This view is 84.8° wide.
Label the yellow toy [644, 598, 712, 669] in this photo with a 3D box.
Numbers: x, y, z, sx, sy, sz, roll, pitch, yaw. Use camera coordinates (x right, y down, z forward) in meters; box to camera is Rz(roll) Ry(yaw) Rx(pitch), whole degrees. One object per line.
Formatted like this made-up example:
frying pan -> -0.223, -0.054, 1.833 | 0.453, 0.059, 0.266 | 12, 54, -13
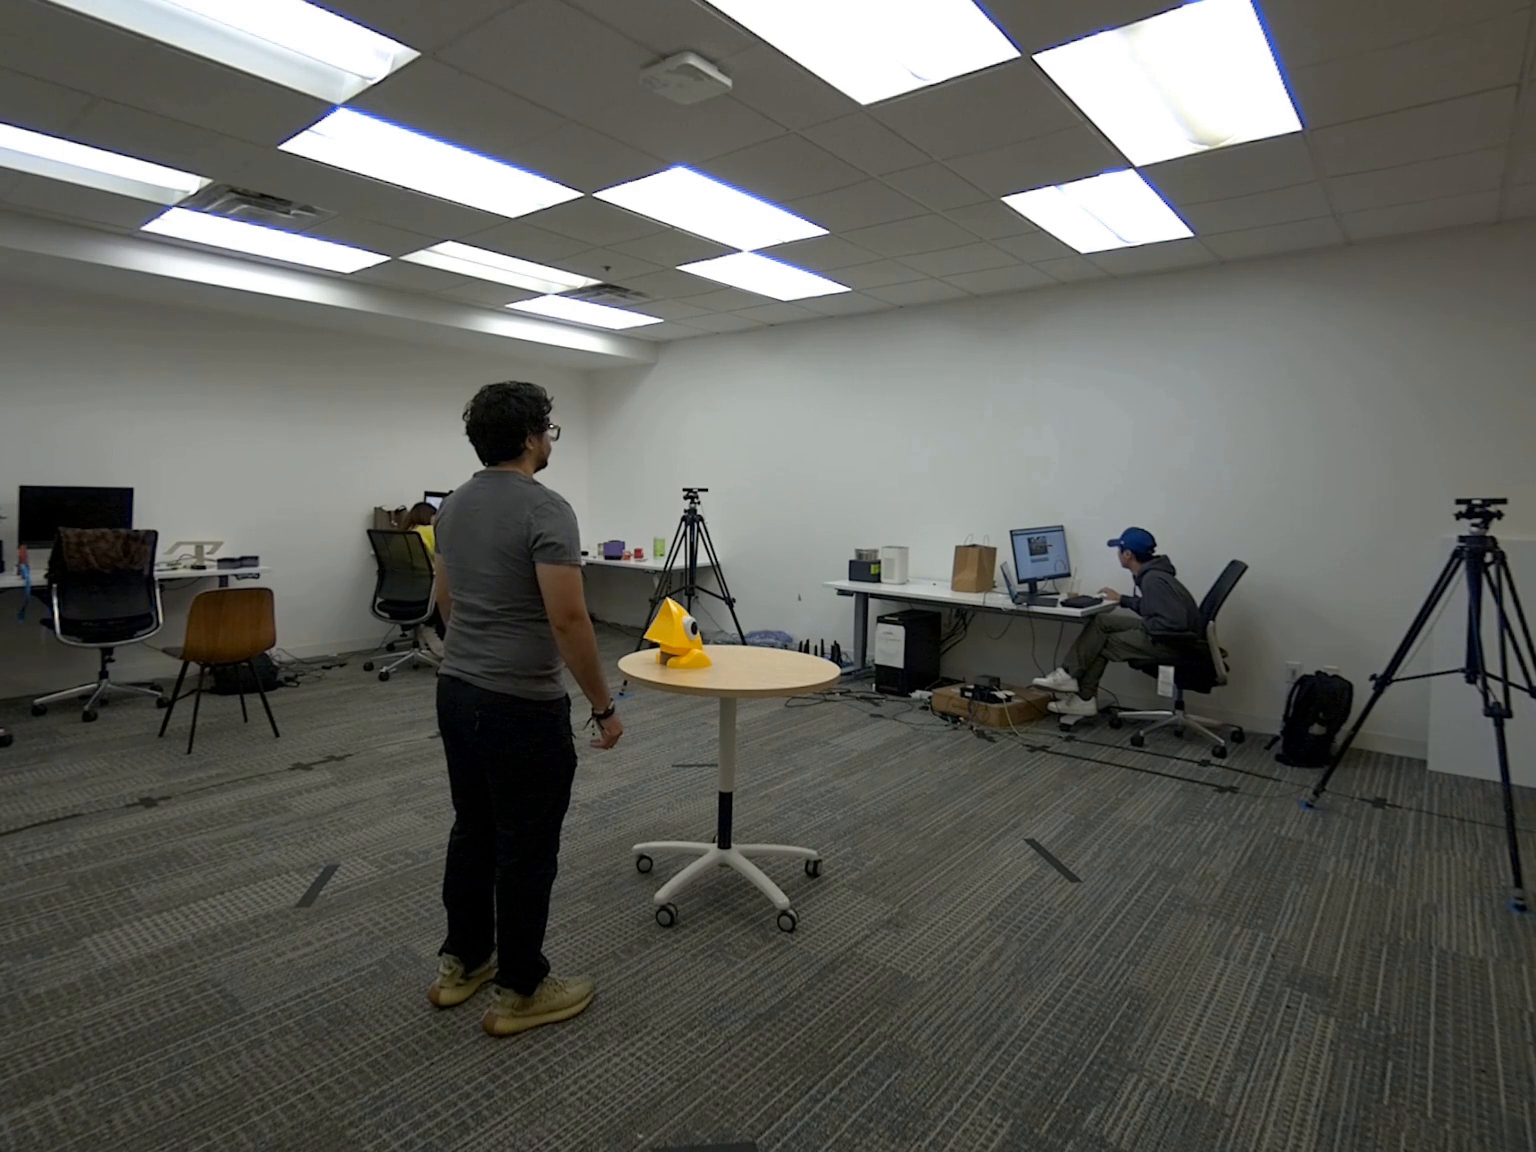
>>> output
yellow toy -> -0.312, 0.184, 2.947 | 0.187, 0.230, 0.211 | -1, 4, -35
